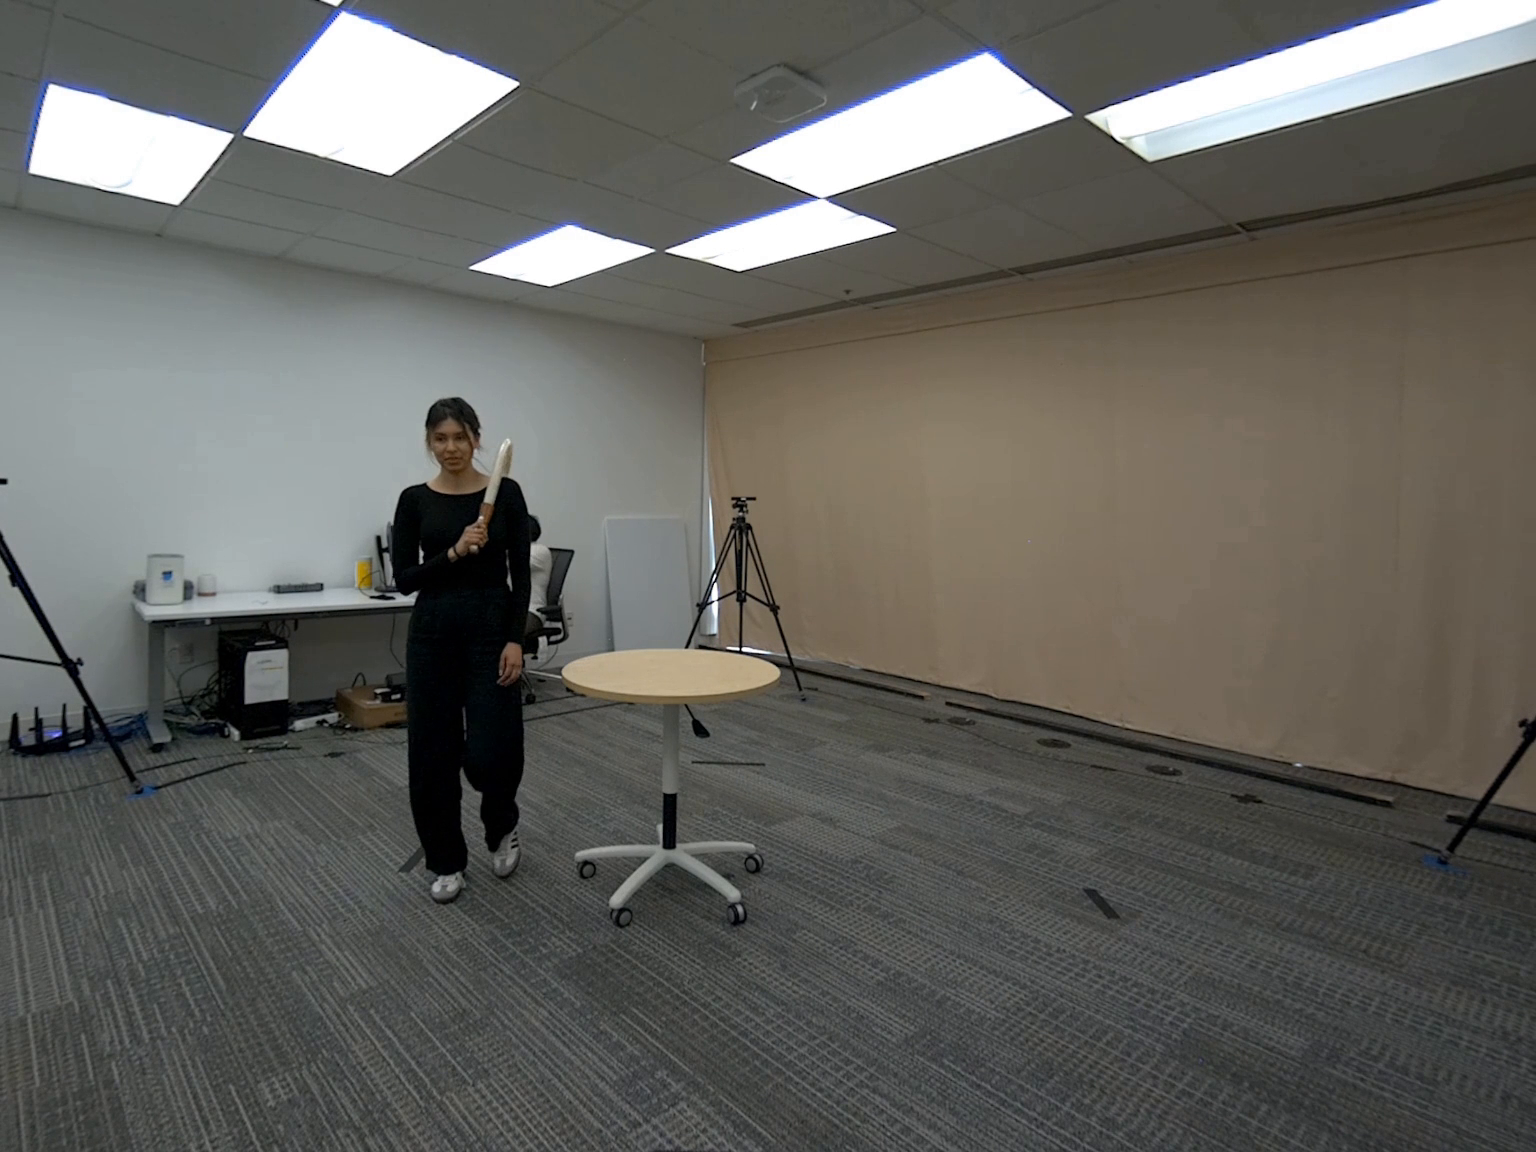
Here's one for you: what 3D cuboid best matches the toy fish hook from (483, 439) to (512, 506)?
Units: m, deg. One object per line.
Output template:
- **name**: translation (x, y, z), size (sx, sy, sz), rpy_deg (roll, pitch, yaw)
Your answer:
- **toy fish hook**: translation (-0.984, -0.258, 2.950), size (0.048, 0.516, 0.221), rpy_deg (7, -34, -2)
